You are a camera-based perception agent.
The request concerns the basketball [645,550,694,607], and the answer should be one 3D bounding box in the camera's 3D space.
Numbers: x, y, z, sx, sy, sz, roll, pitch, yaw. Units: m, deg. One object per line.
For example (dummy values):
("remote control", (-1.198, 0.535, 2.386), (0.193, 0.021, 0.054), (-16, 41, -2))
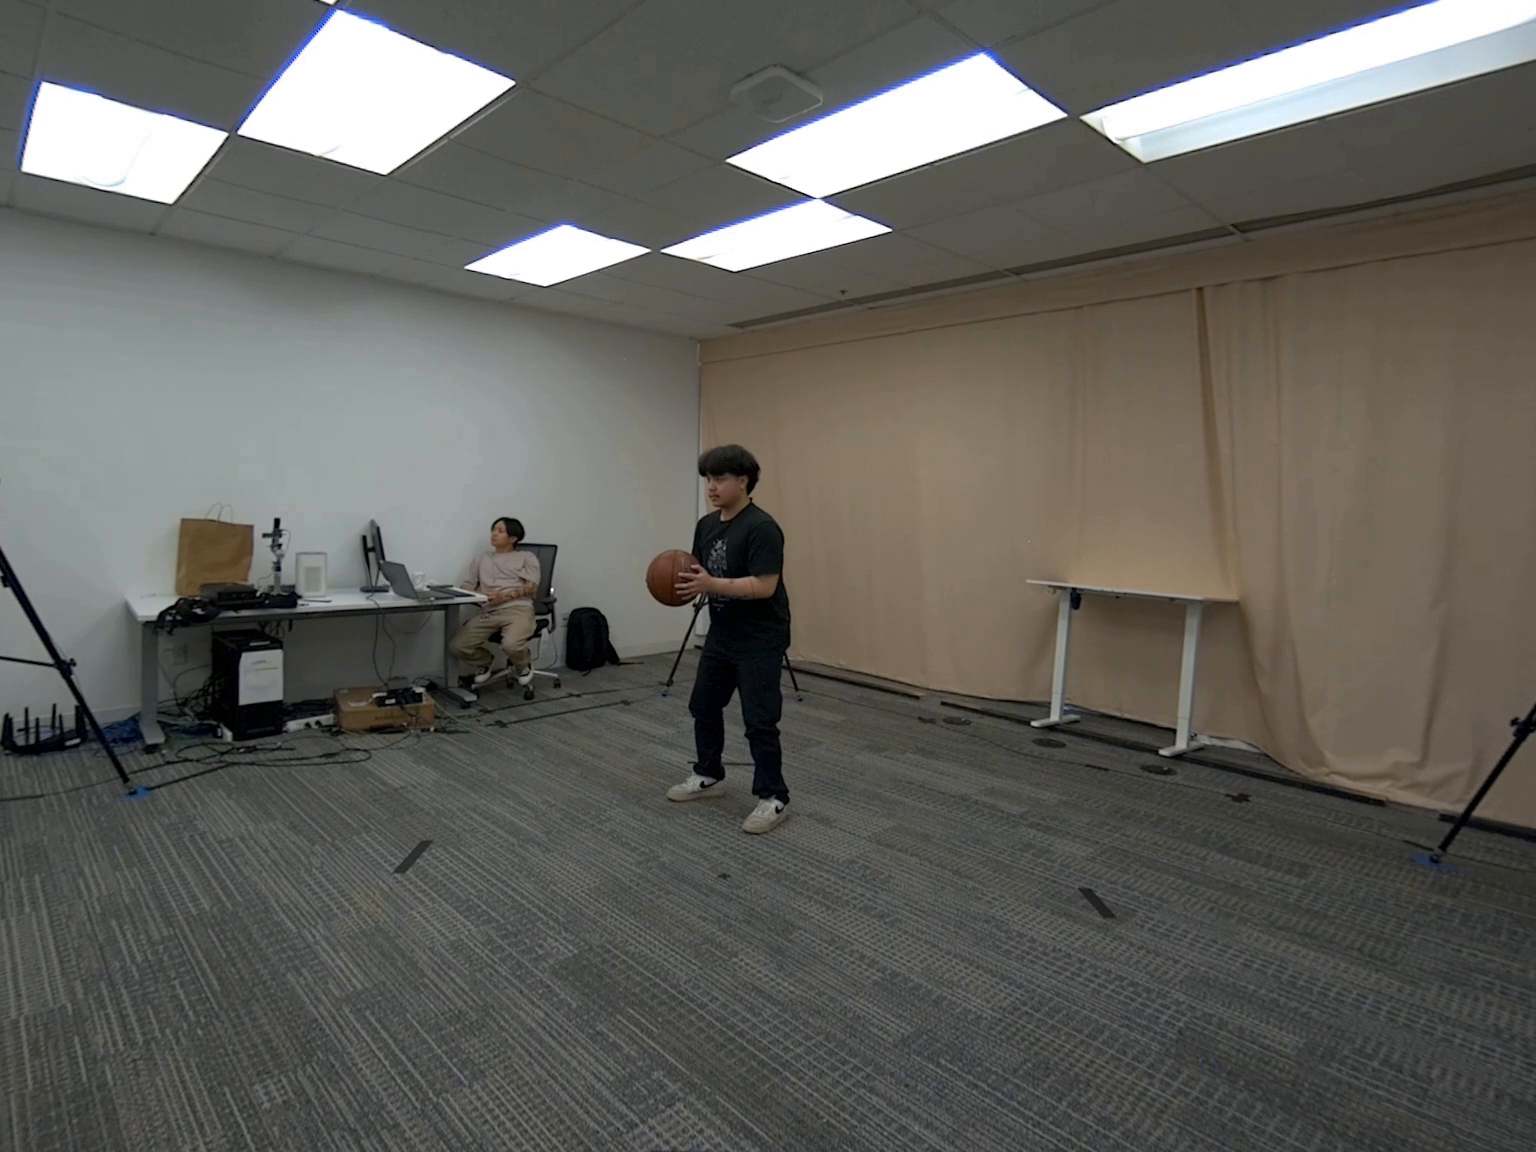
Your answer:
("basketball", (-0.407, 0.009, 3.513), (0.236, 0.235, 0.237), (1, 4, -1))
